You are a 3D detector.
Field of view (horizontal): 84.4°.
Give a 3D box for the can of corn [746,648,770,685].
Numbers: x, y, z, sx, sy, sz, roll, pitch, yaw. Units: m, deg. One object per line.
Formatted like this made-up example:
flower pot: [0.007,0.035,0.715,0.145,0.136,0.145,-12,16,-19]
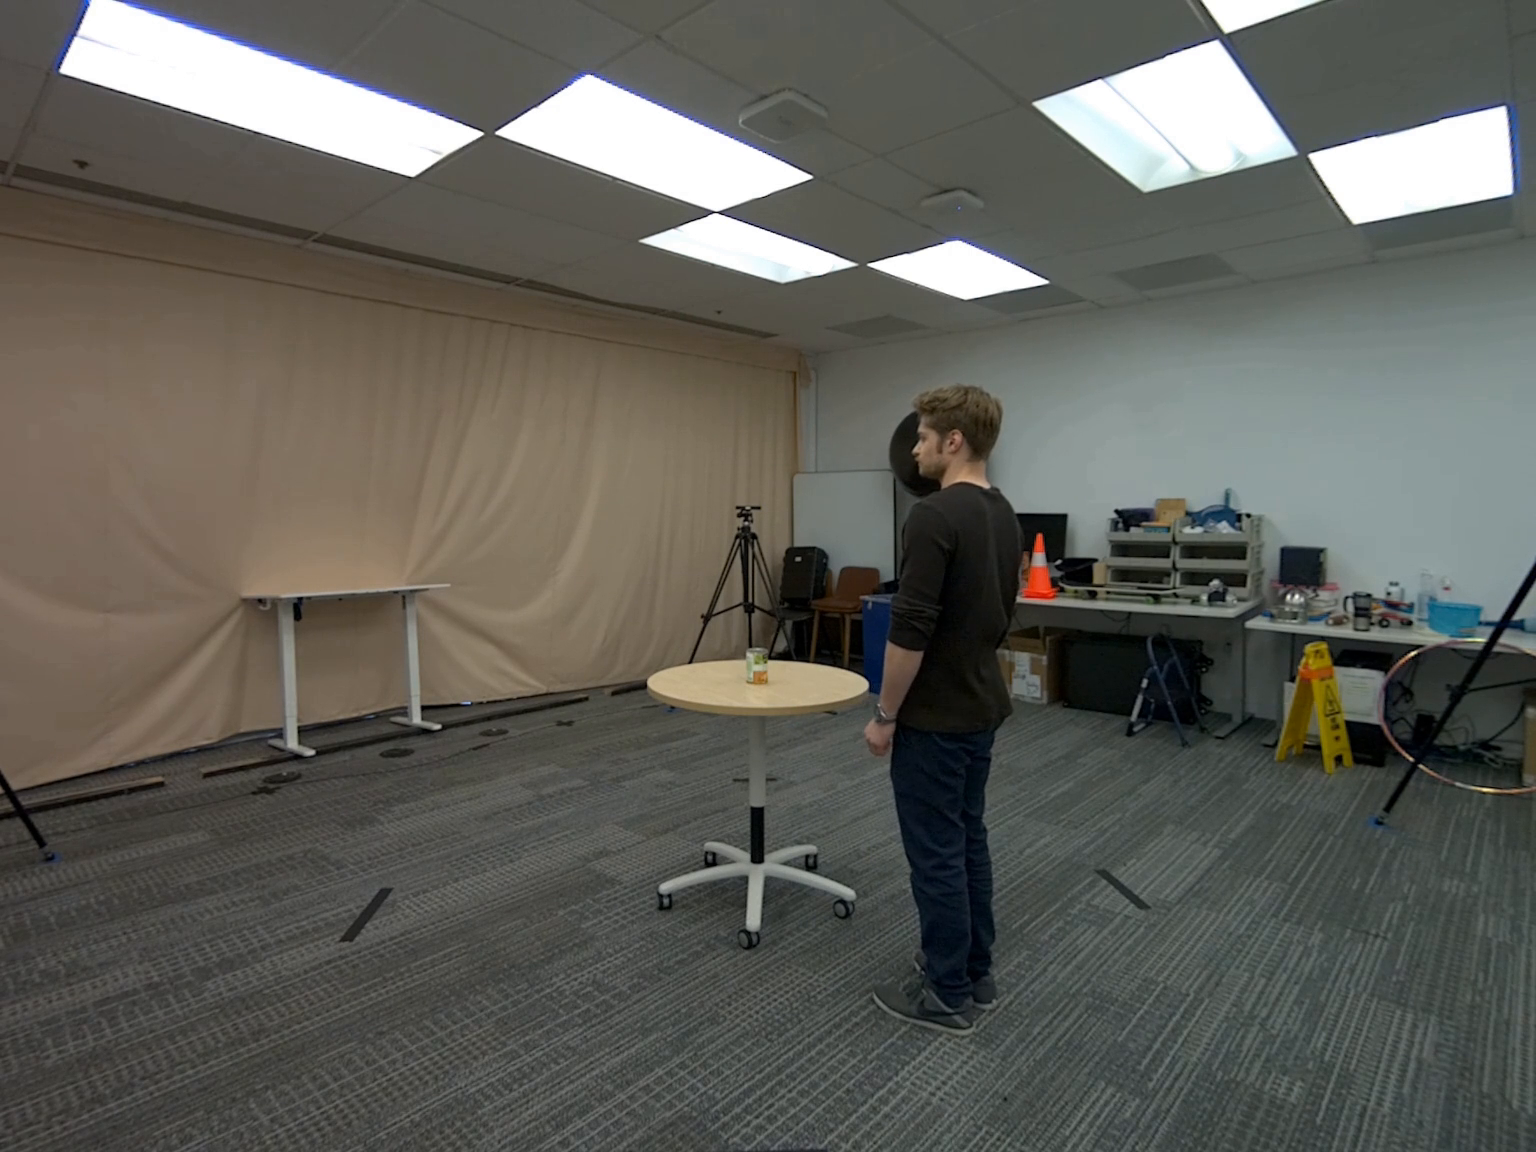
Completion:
can of corn: [-0.031,0.310,2.900,0.074,0.111,0.074,1,4,-2]
